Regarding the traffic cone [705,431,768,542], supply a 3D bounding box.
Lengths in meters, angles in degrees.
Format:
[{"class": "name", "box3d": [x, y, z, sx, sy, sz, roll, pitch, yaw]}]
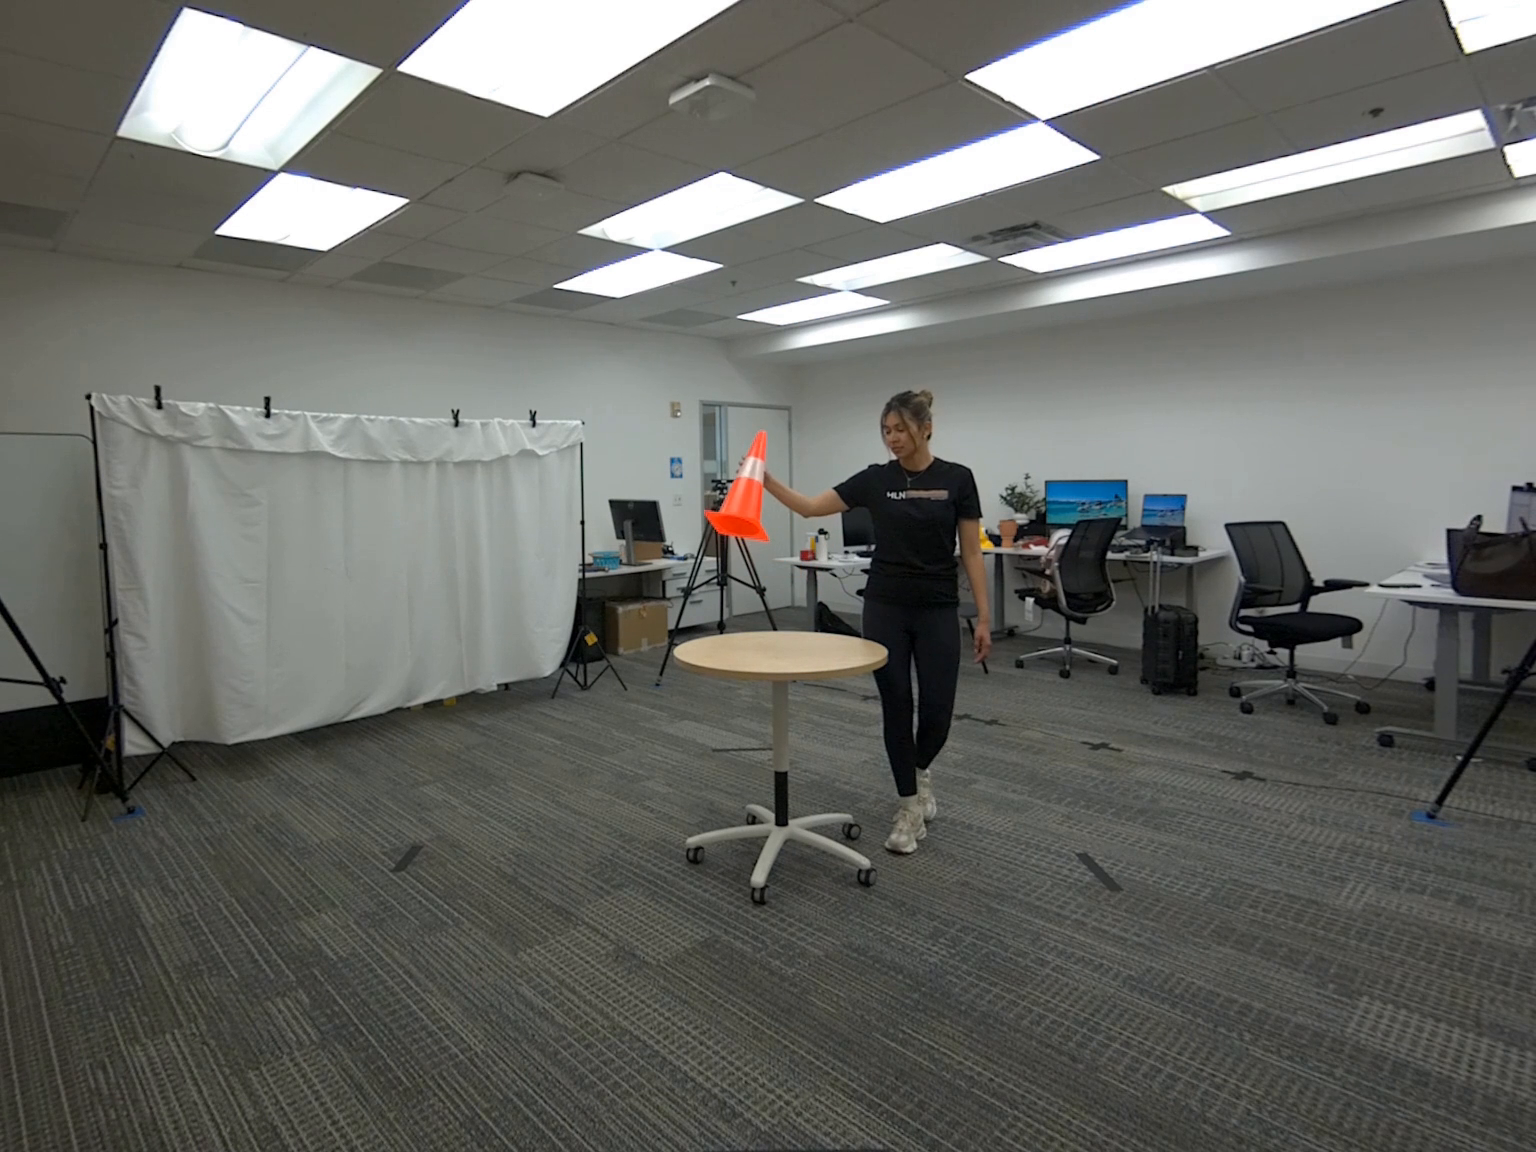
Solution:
[{"class": "traffic cone", "box3d": [-0.057, -0.341, 3.033, 0.210, 0.388, 0.196, 6, -20, 24]}]
